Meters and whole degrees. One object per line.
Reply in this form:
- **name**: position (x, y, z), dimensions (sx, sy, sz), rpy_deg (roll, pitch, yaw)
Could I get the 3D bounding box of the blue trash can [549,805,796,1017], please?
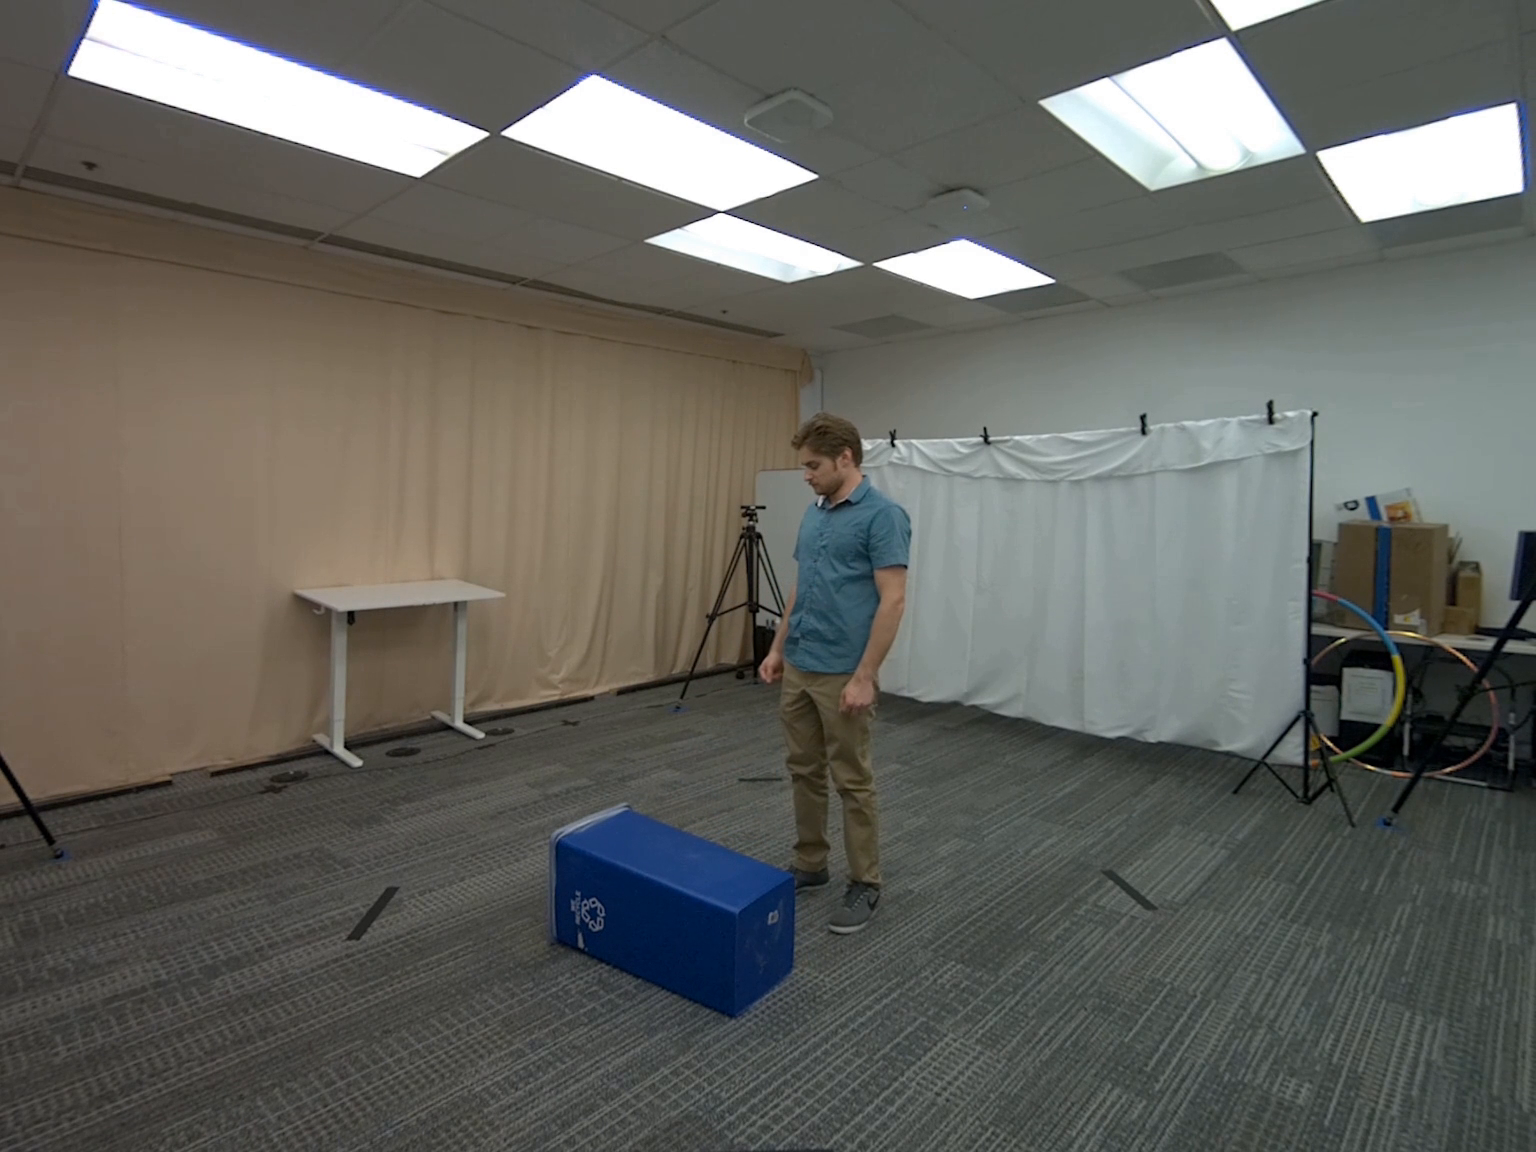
- **blue trash can**: position (-0.295, 1.015, 2.602), dimensions (0.737, 0.377, 0.363), rpy_deg (6, 6, 35)
